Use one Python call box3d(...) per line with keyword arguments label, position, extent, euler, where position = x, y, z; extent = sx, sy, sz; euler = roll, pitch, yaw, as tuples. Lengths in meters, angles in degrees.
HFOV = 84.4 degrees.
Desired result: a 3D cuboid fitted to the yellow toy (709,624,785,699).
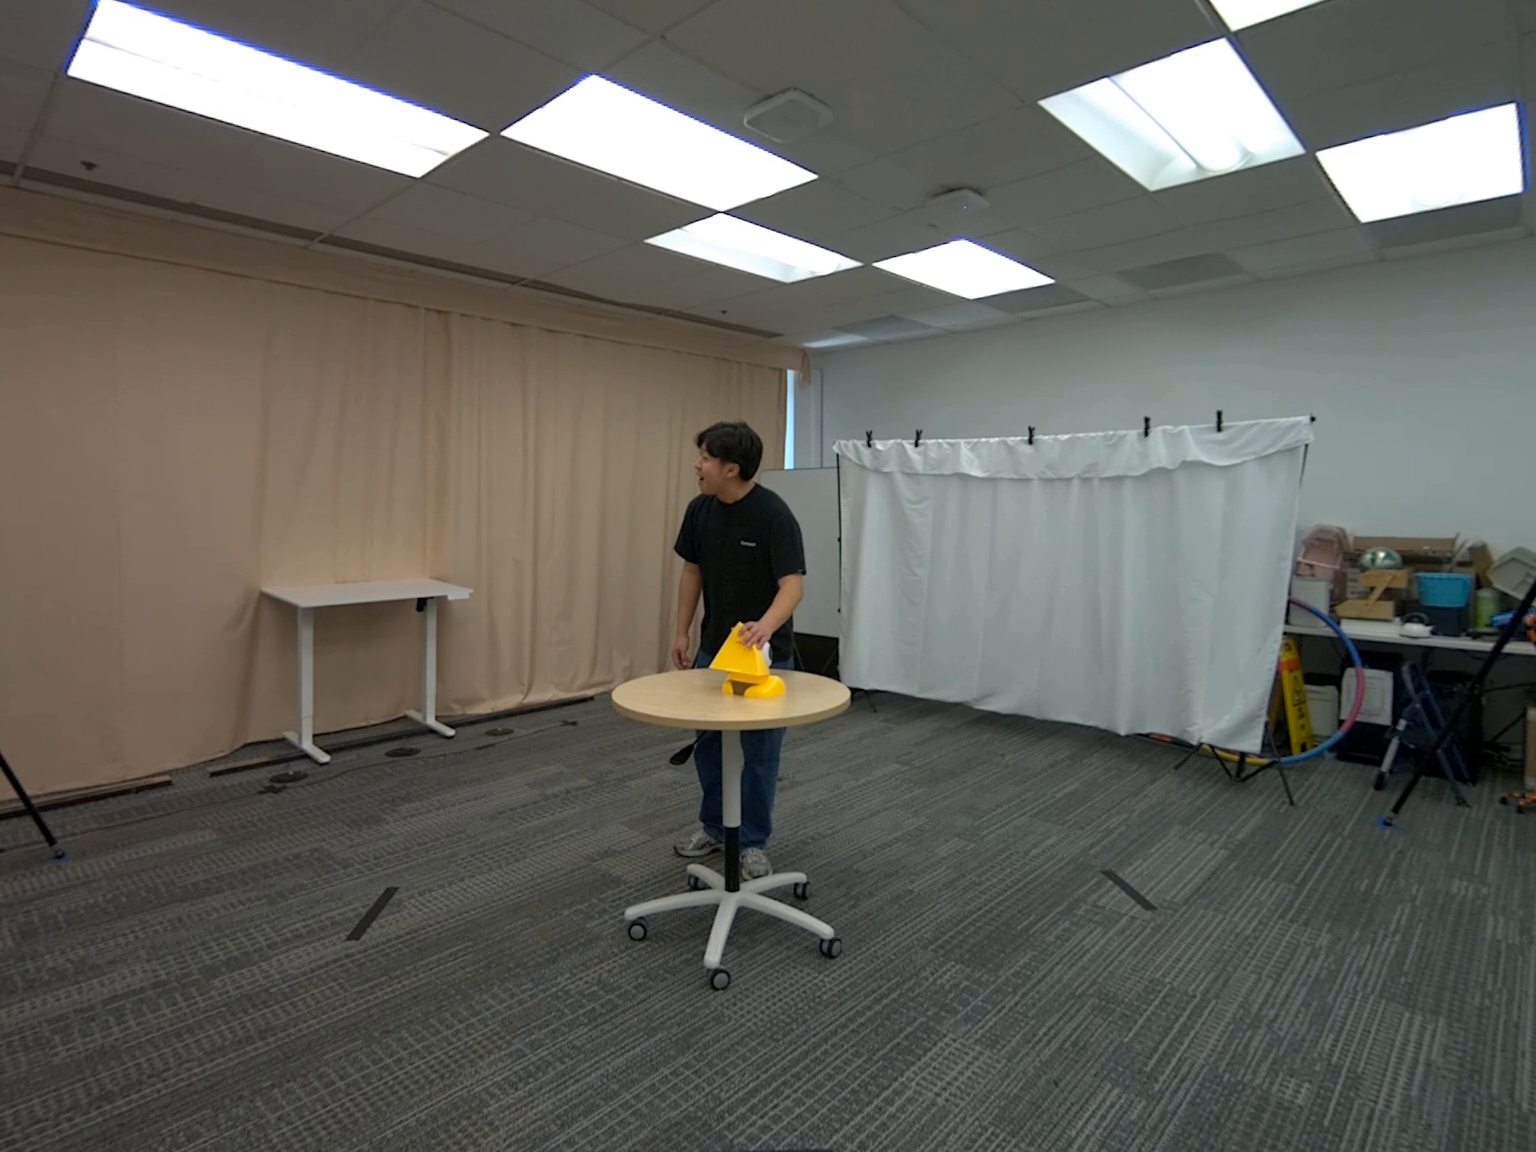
box3d(label="yellow toy", position=(-0.055, 0.256, 2.701), extent=(0.211, 0.230, 0.187), euler=(4, 5, 40))
